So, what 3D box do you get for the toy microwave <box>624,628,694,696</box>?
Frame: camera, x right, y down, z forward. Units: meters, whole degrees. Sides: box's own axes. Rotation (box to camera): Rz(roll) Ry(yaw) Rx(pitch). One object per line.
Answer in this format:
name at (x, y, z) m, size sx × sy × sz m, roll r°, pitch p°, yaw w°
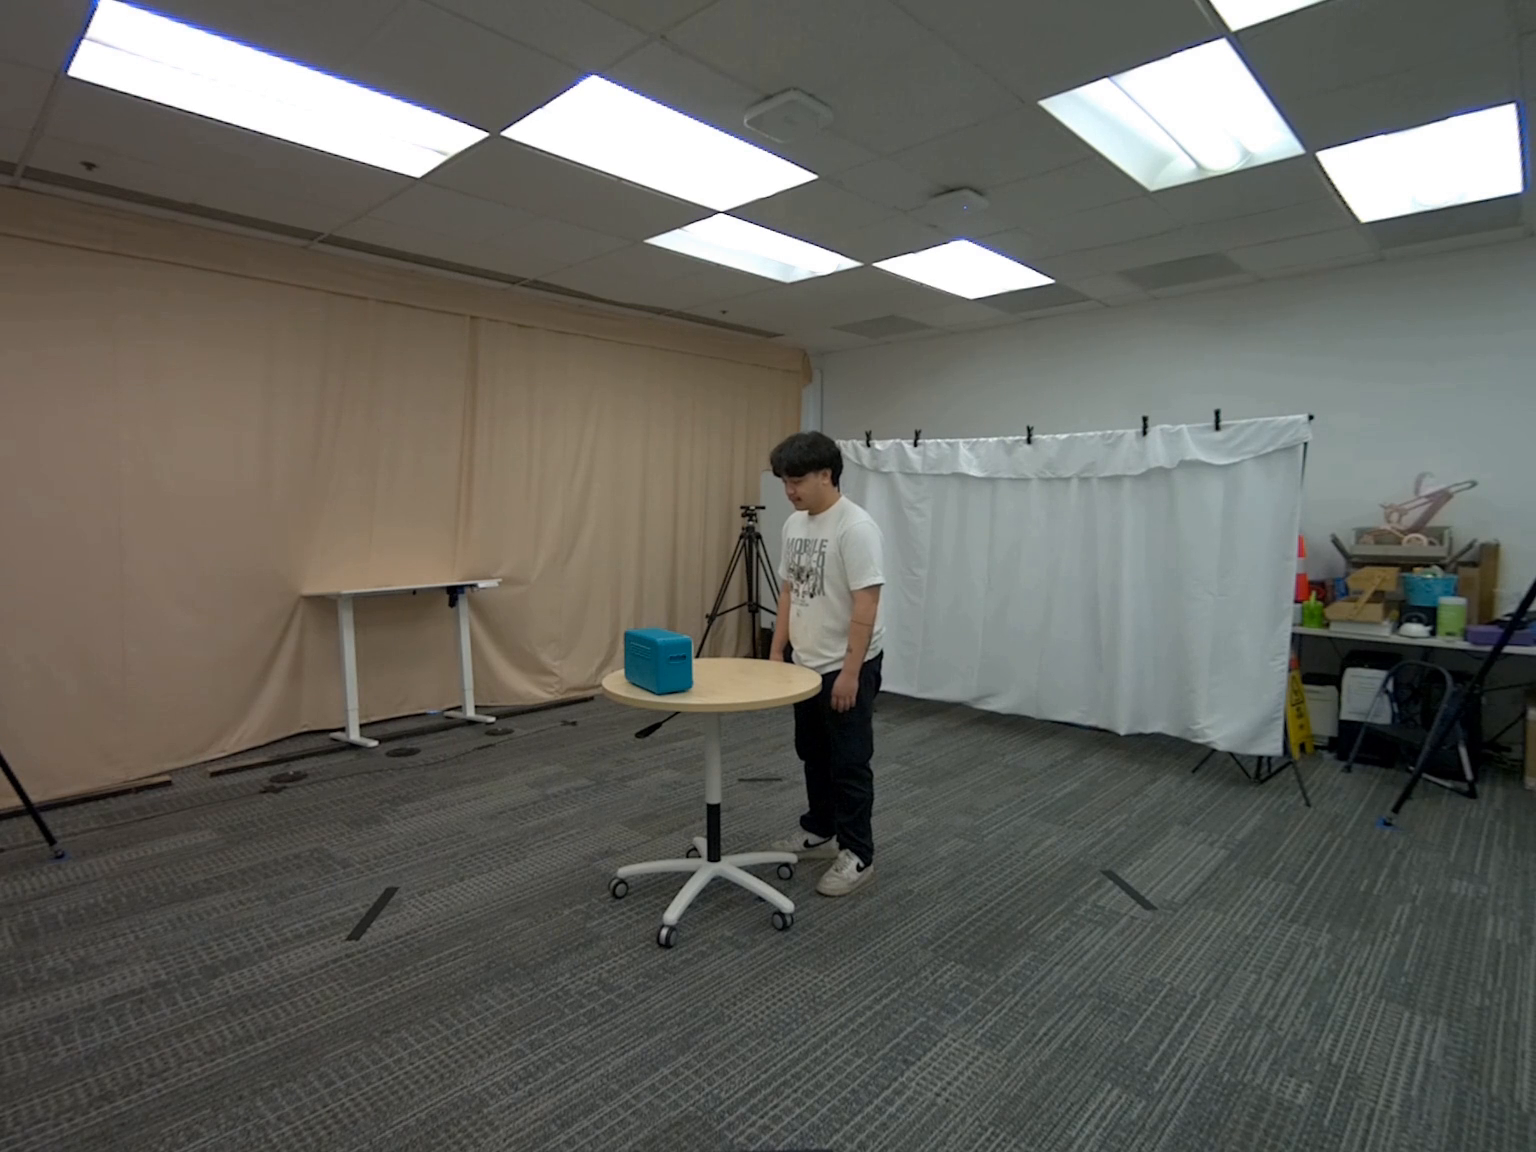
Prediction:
toy microwave at (-0.361, 0.277, 2.812) m, size 0.148 × 0.184 × 0.294 m, roll -2°, pitch 4°, yaw -31°
